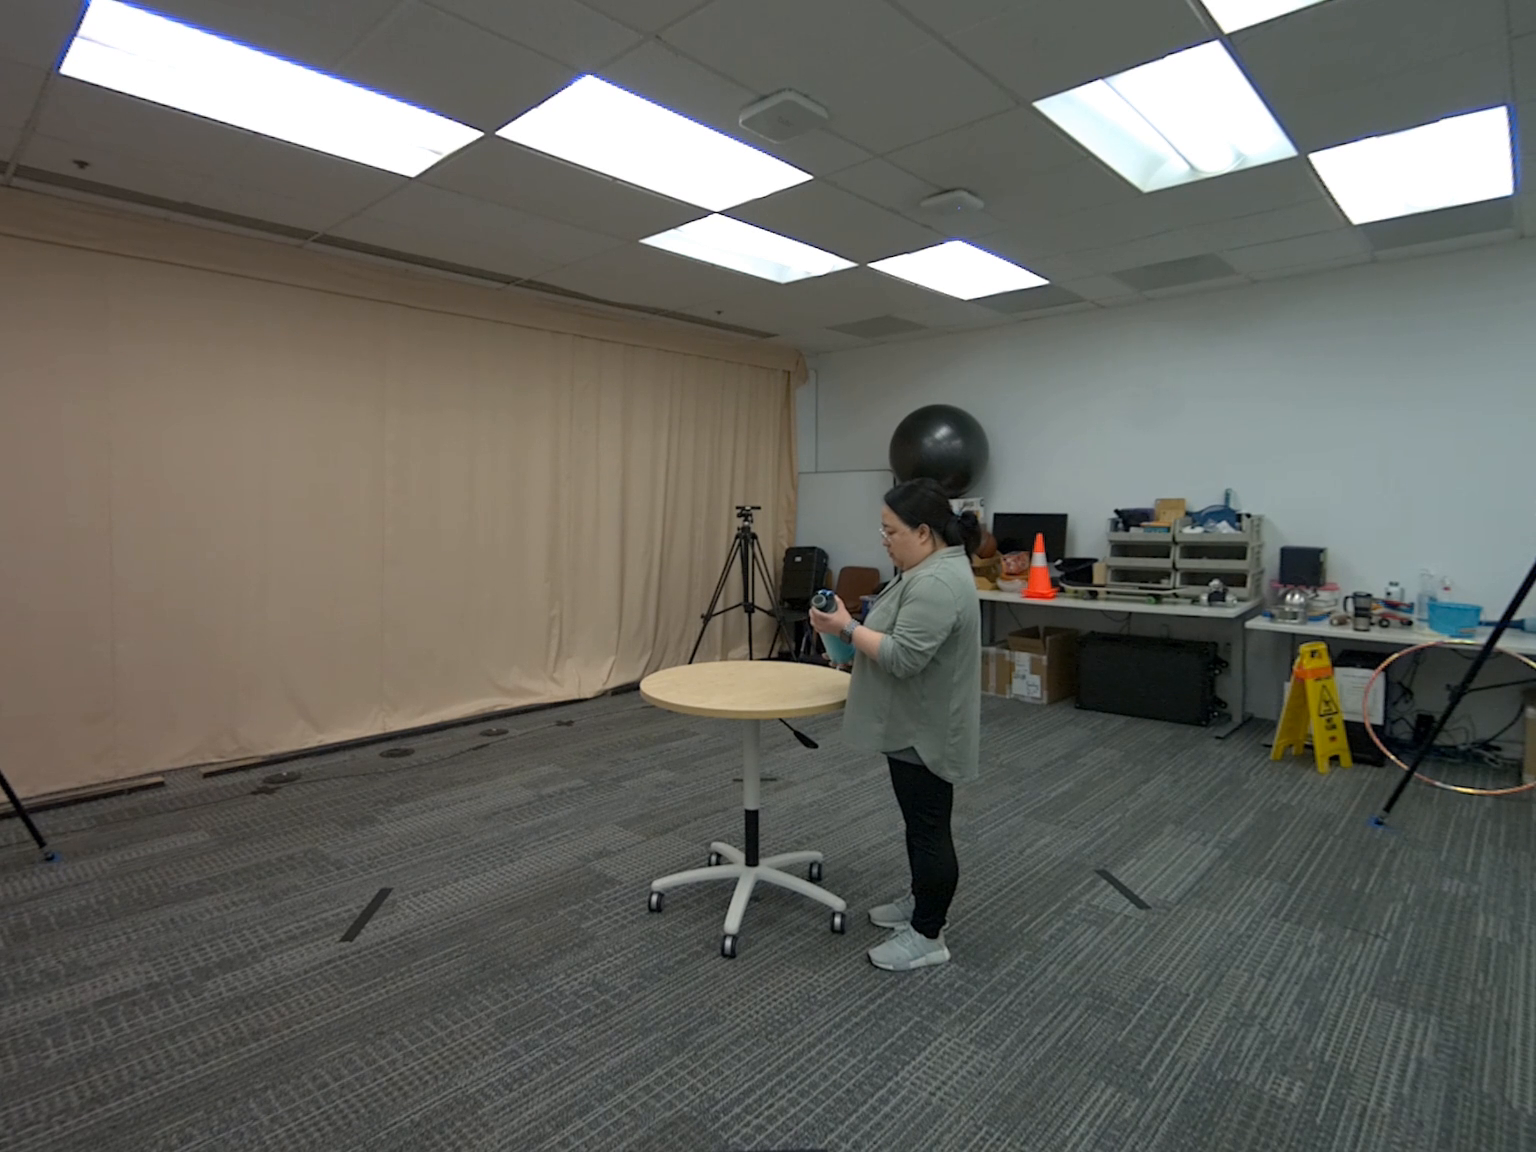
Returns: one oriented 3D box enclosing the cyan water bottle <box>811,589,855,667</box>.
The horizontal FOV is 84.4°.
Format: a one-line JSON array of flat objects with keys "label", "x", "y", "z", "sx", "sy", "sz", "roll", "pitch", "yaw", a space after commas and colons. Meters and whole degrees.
[{"label": "cyan water bottle", "x": 0.211, "y": 0.160, "z": 2.613, "sx": 0.093, "sy": 0.275, "sz": 0.094, "roll": -13, "pitch": 39, "yaw": 9}]
